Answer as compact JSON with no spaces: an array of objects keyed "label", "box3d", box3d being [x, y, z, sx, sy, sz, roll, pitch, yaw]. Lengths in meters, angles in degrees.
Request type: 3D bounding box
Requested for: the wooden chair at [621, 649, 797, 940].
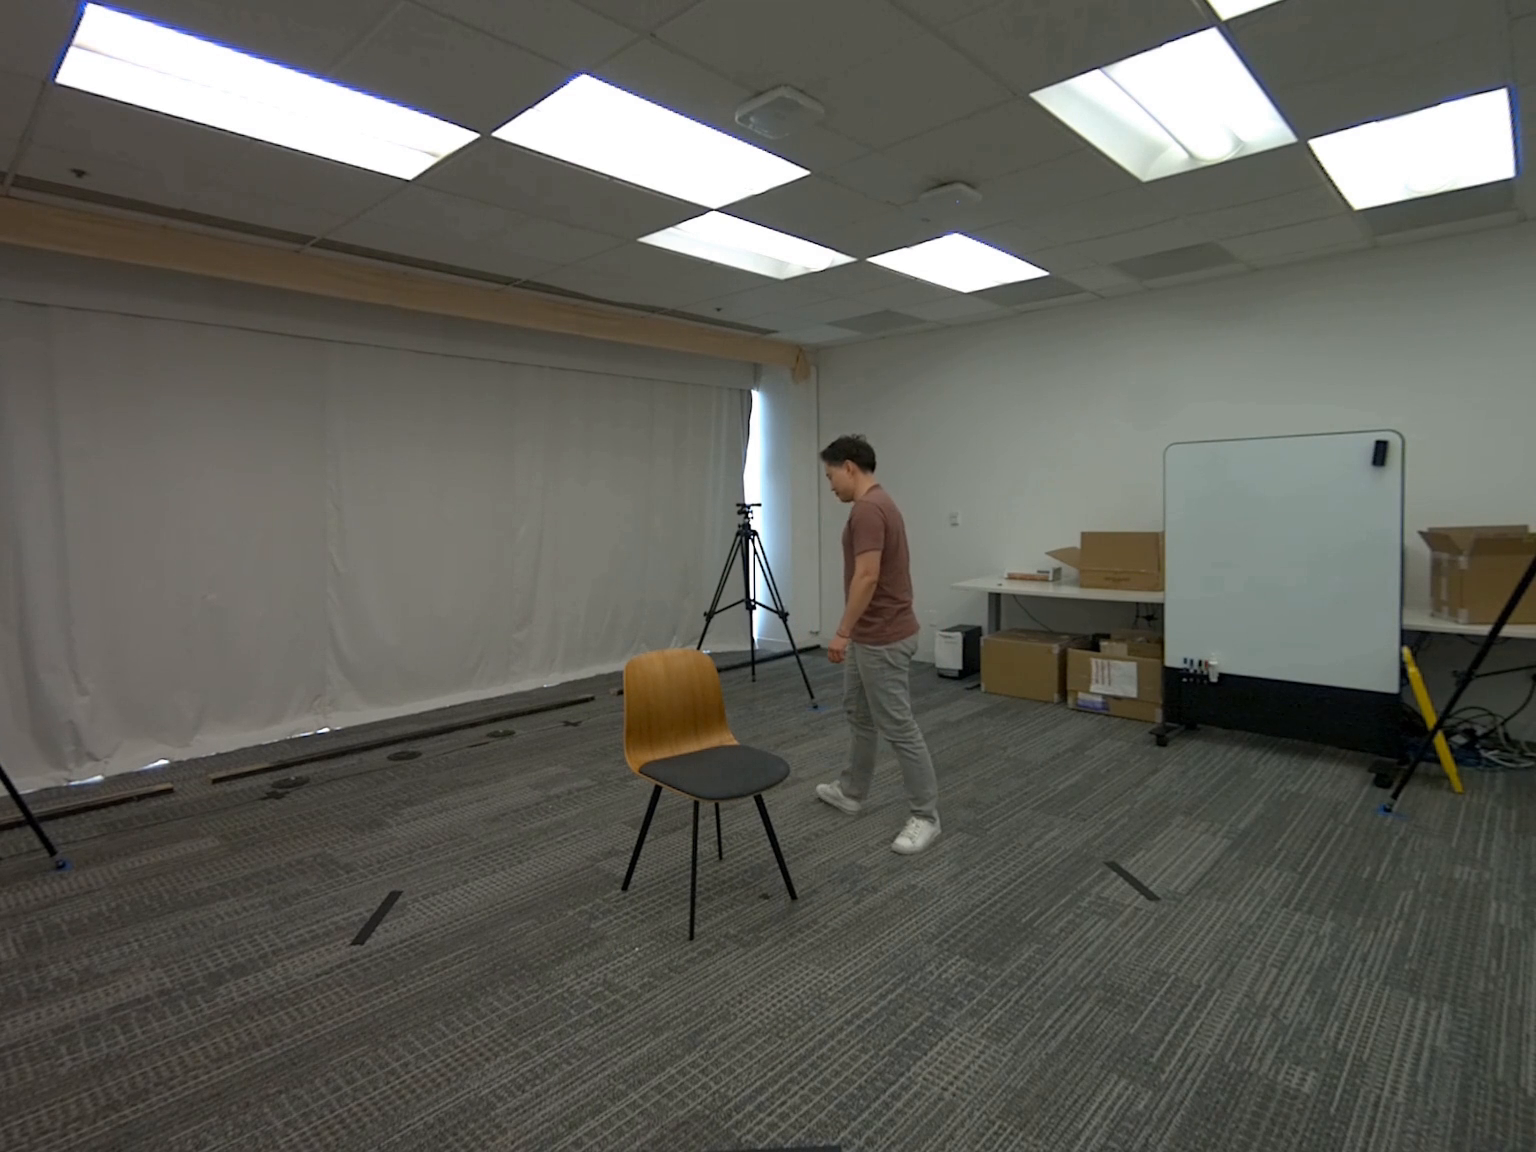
[{"label":"wooden chair","box3d":[-0.216,0.715,2.963,0.464,0.877,0.539,-4,0,-38]}]
